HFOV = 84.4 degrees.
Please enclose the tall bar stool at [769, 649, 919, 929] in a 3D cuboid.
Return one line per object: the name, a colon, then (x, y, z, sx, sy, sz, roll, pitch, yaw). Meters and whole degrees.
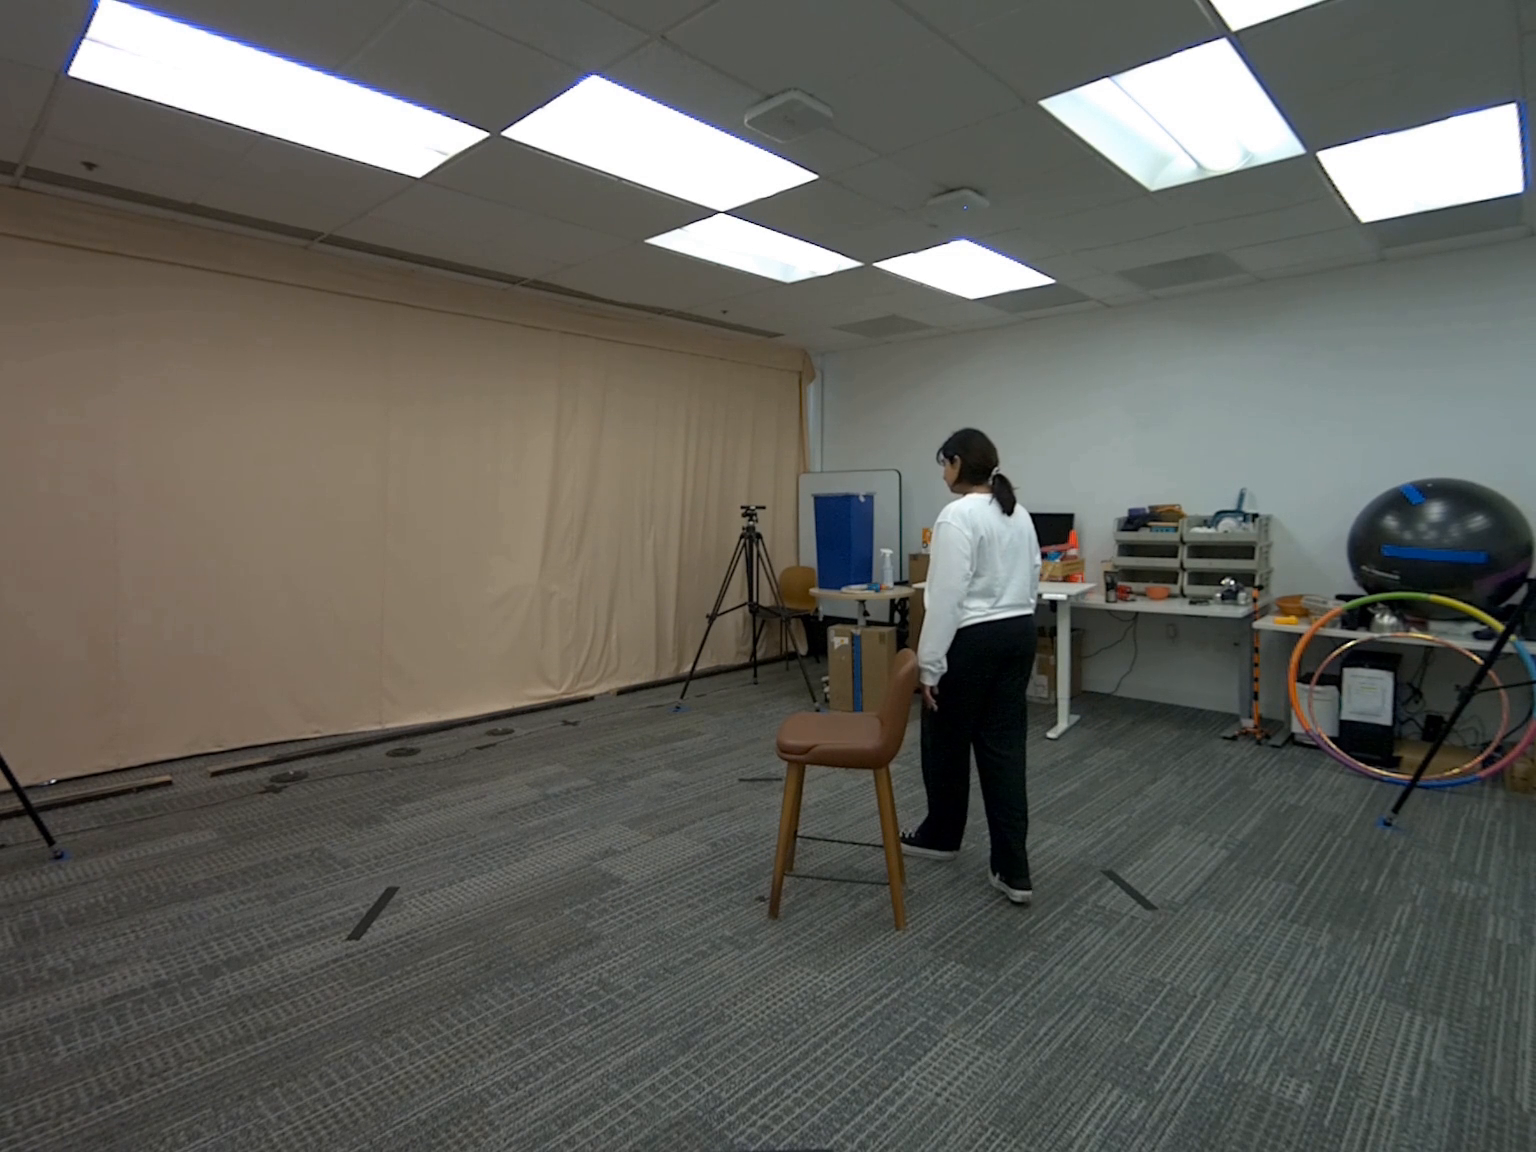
tall bar stool: (0.270, 0.711, 2.961, 0.474, 0.888, 0.451, 3, 4, 12)
